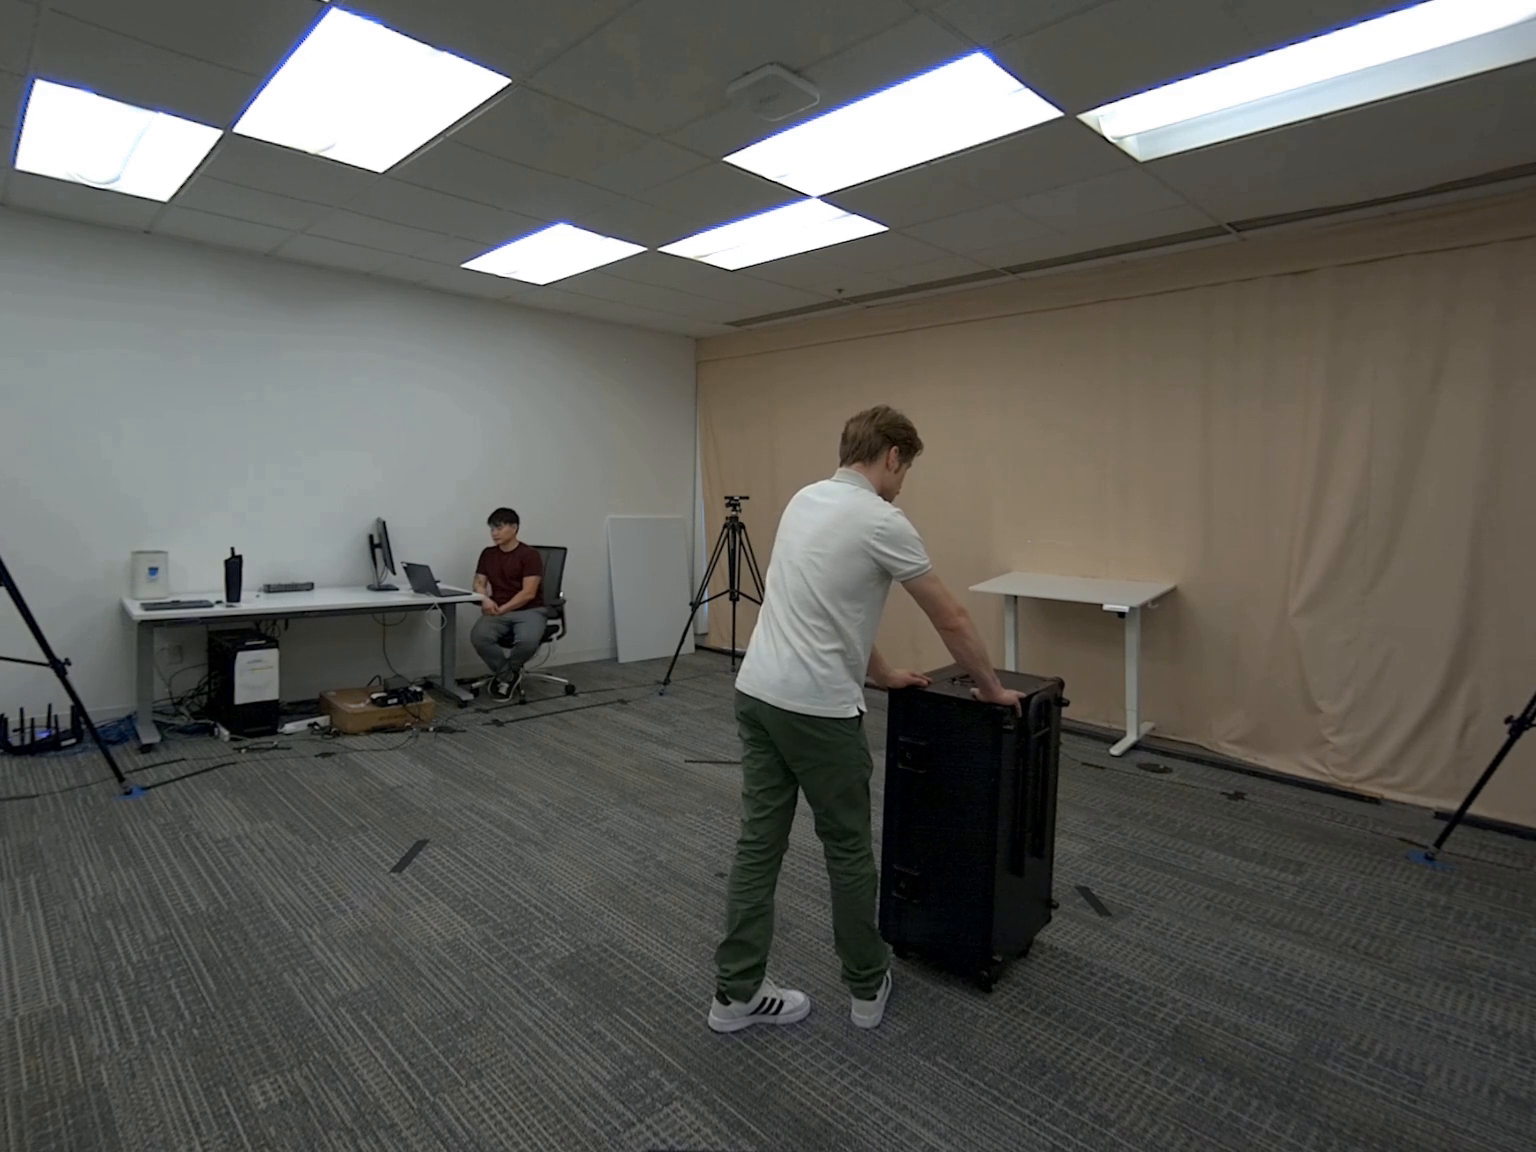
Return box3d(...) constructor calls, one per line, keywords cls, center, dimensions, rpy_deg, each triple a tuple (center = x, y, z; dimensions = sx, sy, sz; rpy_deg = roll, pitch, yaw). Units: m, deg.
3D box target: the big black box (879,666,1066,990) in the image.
box3d(cls="big black box", center=(0.630, 0.749, 2.592), dimensions=(0.395, 0.866, 0.512), rpy_deg=(5, 5, 38))
